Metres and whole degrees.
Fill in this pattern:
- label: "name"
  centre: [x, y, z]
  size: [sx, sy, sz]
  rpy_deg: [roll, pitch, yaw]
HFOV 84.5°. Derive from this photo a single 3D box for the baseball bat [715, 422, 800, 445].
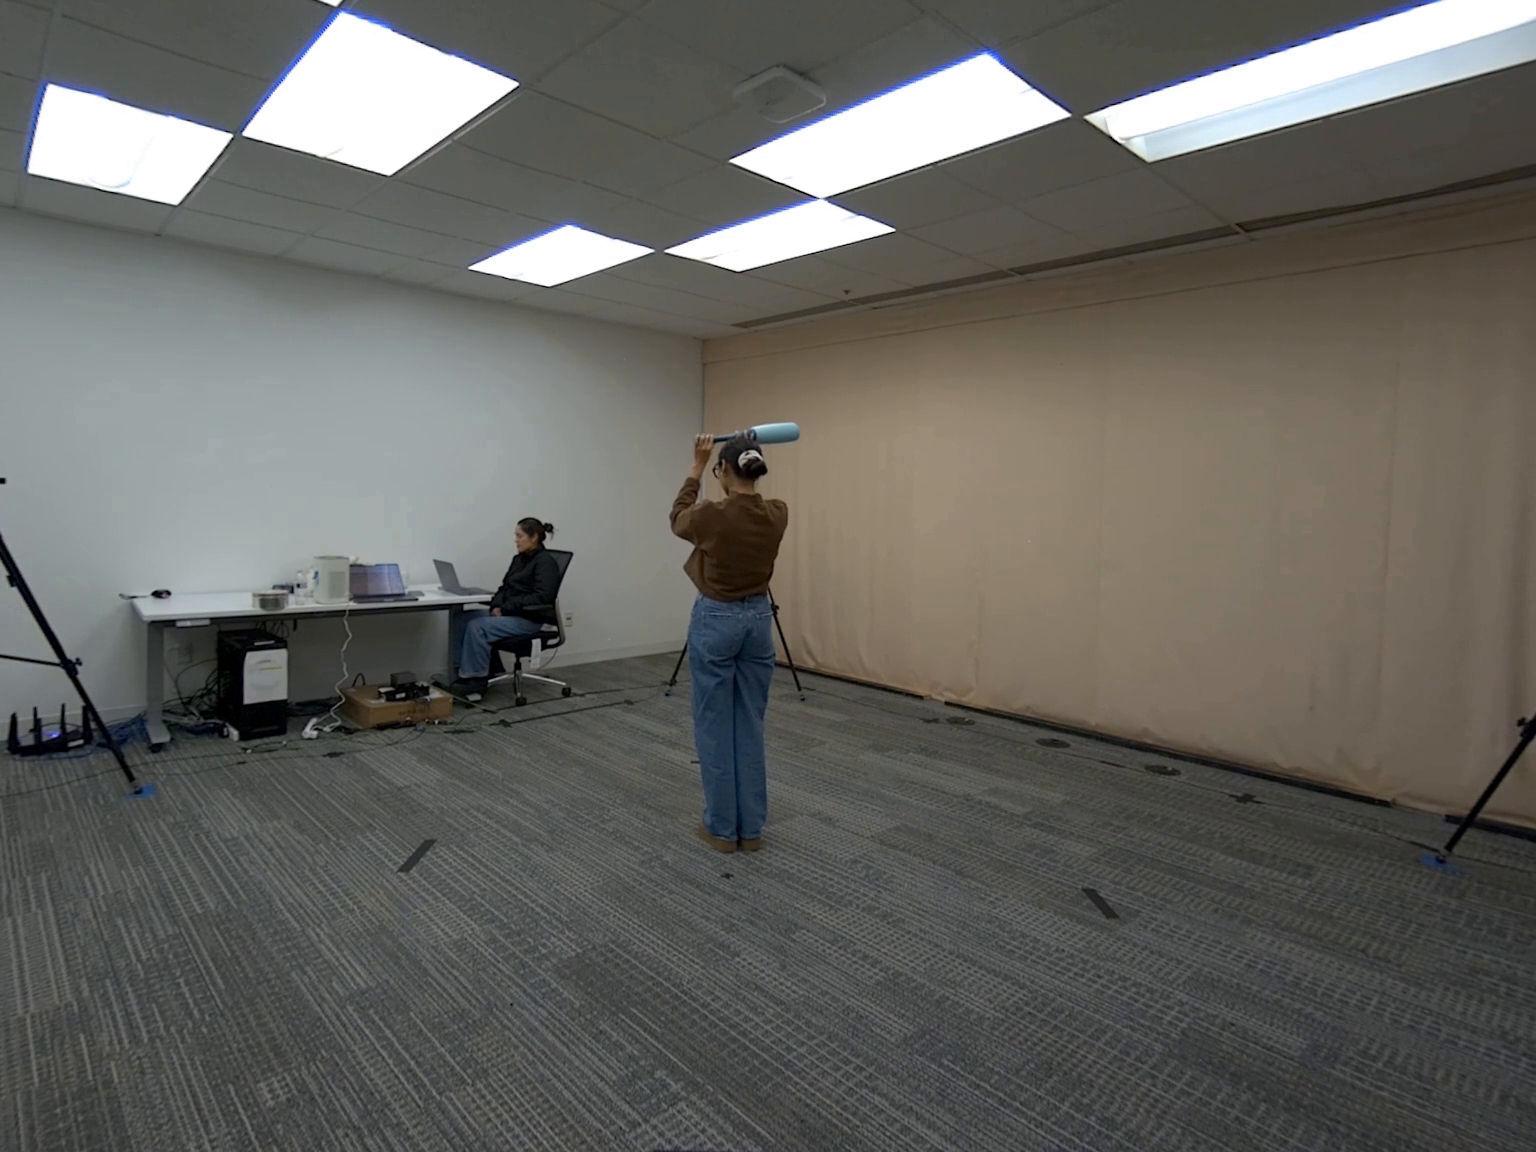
- label: "baseball bat"
  centre: [-0.094, -0.612, 3.656]
  size: [0.533, 0.088, 0.091]
  rpy_deg: [-13, 12, -37]
